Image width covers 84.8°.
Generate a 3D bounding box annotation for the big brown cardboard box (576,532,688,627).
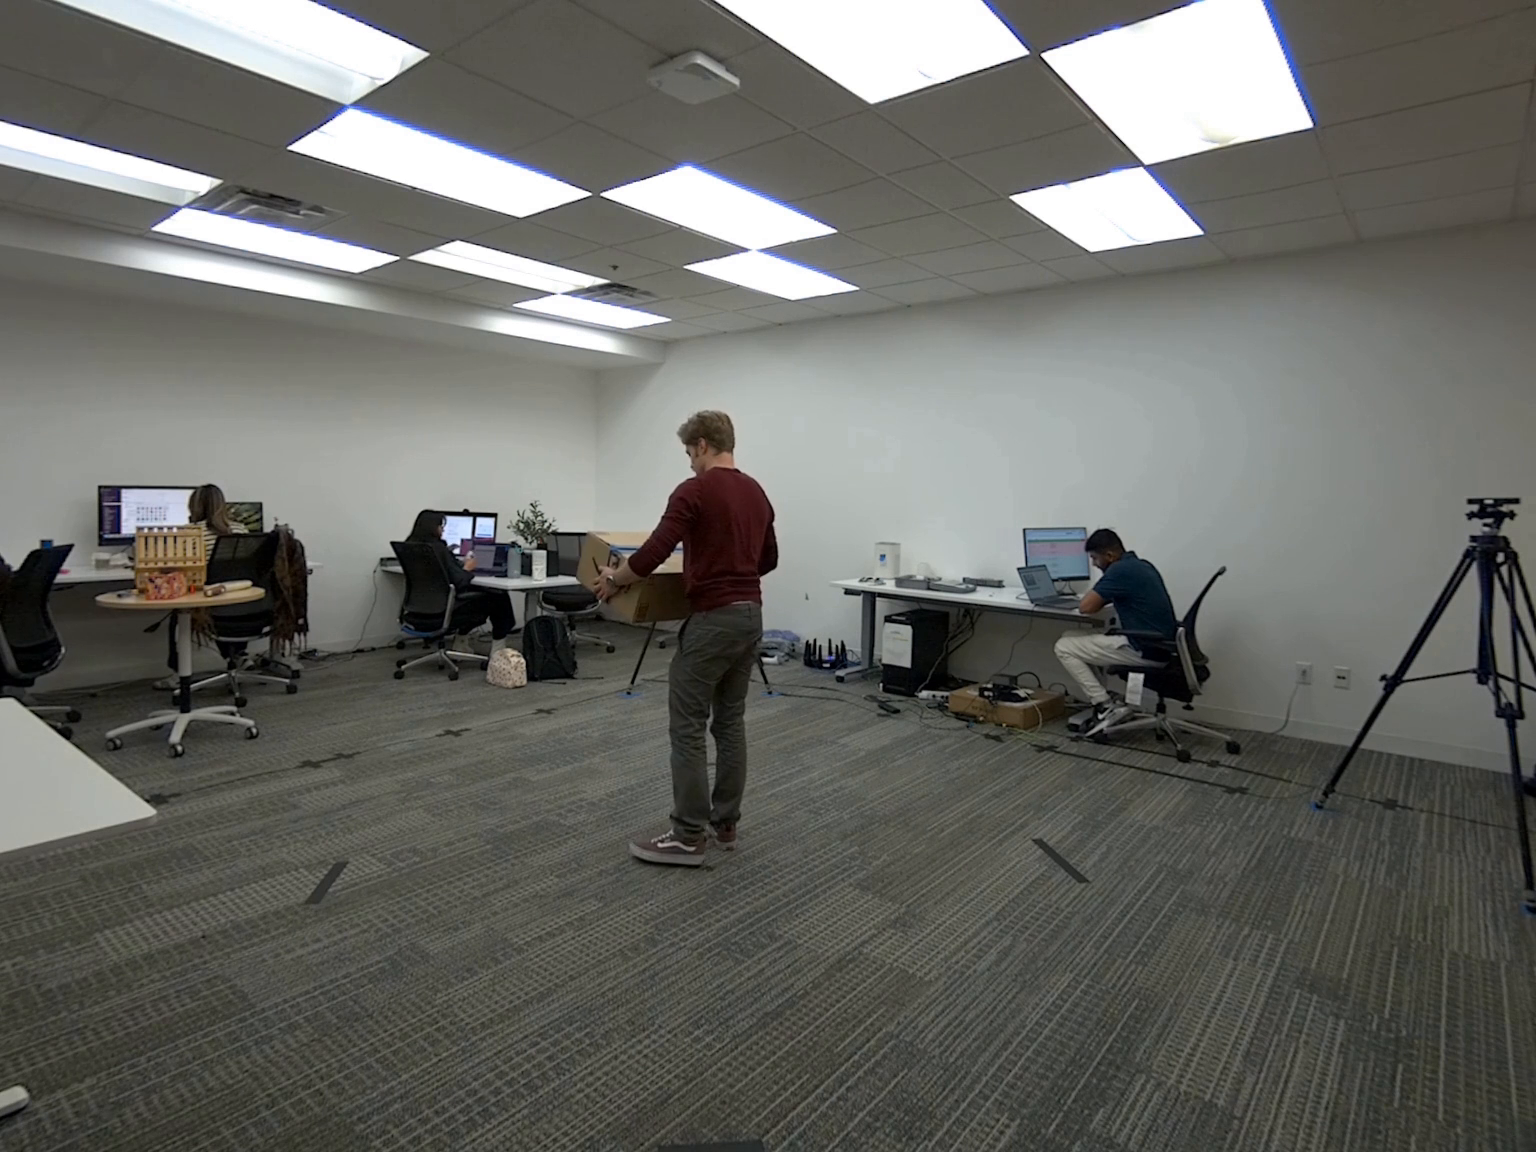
[{"bbox_3d":[-0.448,-0.011,3.532,0.570,0.231,0.435,-1,24,-46],"label":"big brown cardboard box"}]
